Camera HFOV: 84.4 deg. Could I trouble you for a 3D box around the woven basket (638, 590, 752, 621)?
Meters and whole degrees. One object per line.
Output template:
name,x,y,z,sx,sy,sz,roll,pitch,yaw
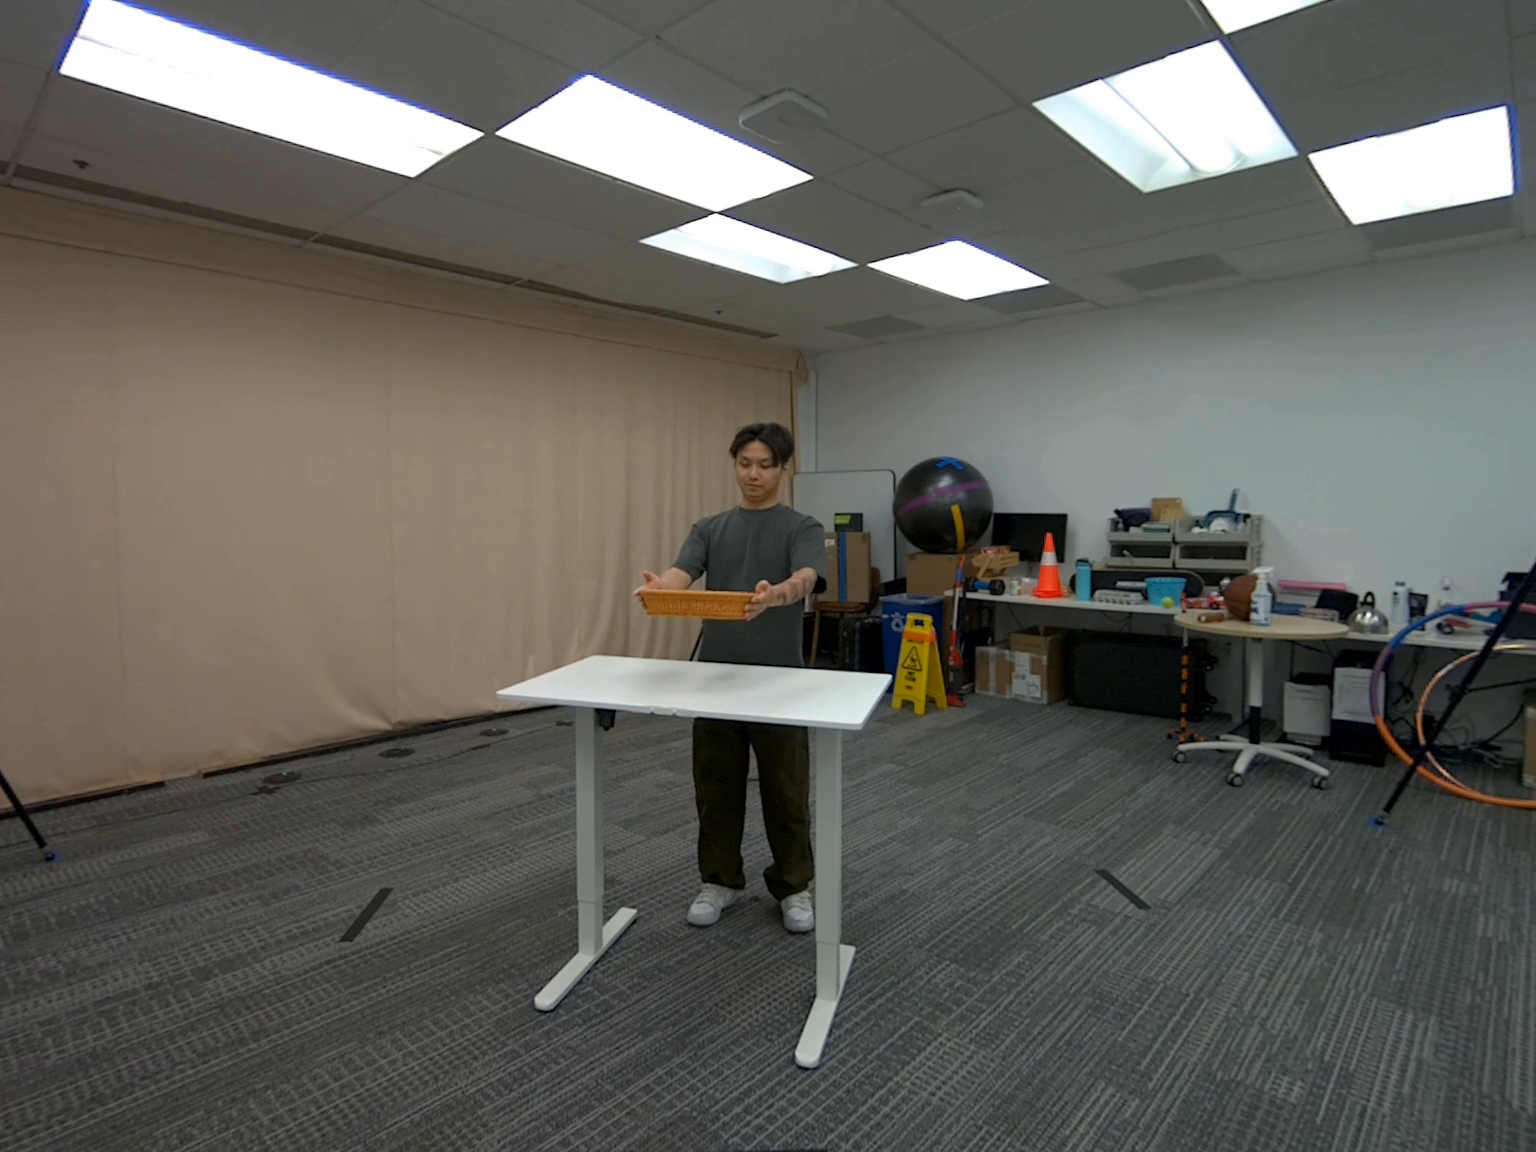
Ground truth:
woven basket,-0.181,0.079,2.365,0.358,0.073,0.247,1,1,22
